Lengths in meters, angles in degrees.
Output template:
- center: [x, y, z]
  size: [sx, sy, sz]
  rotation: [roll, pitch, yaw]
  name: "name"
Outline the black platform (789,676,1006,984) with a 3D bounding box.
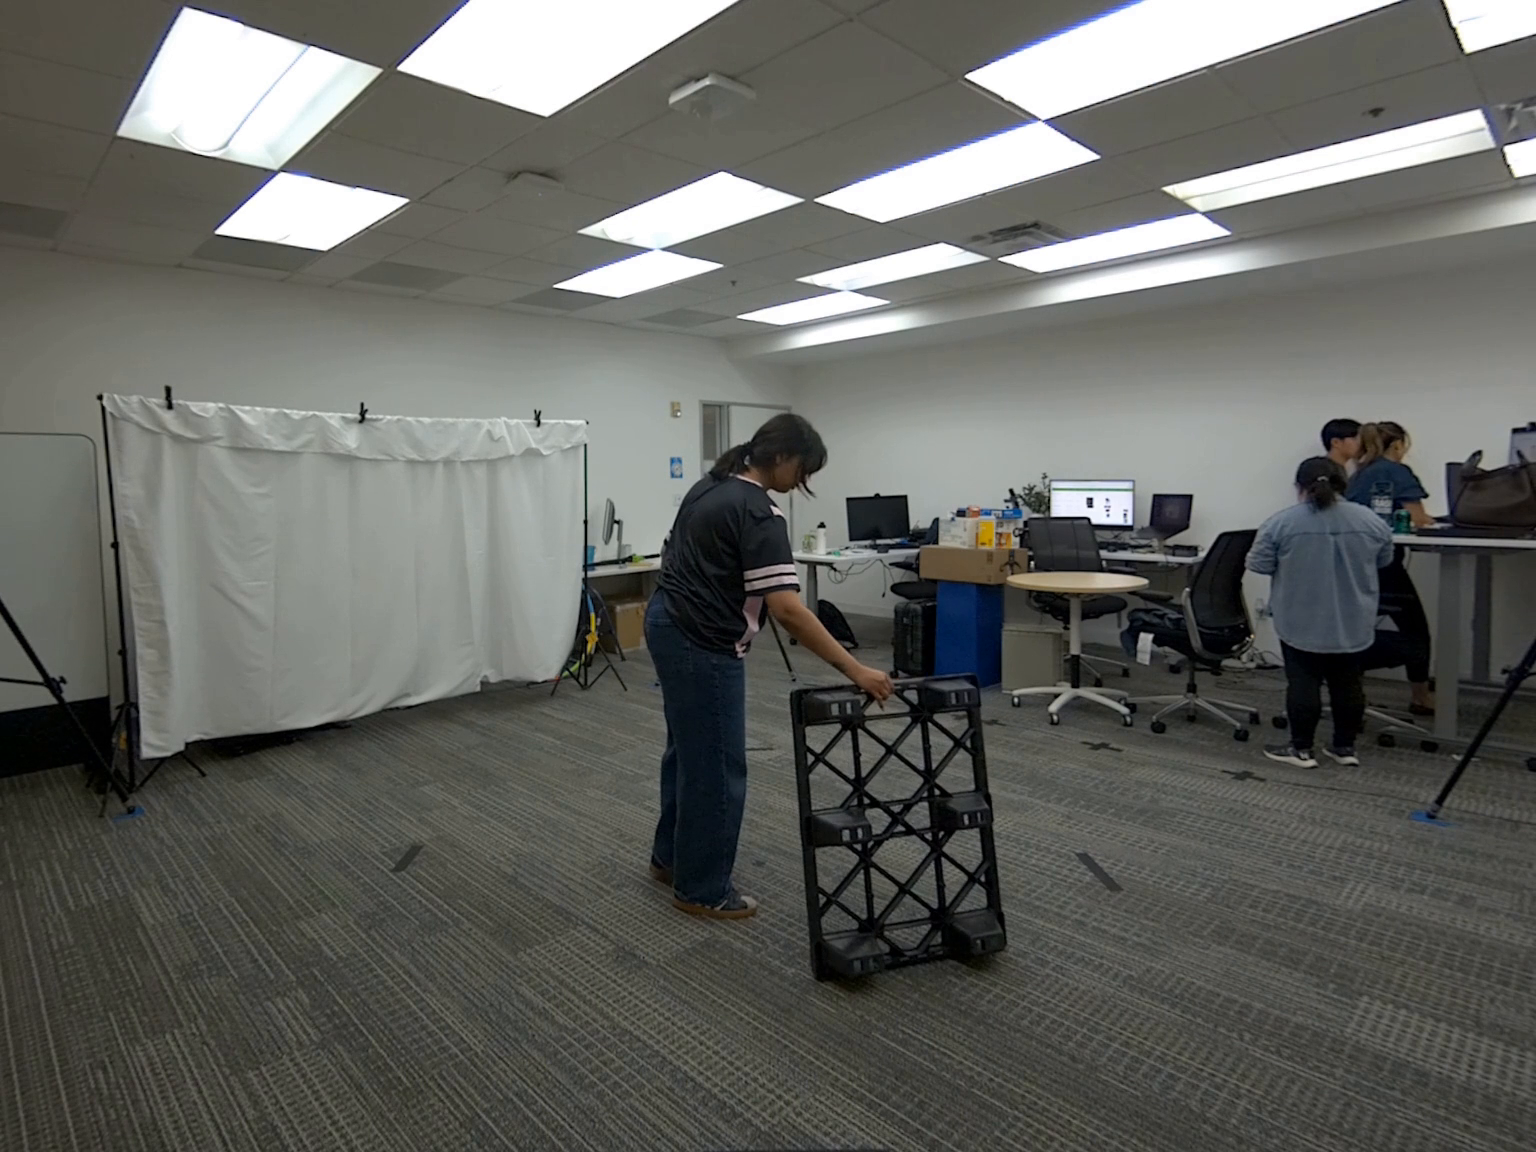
- center: [0.397, 0.709, 2.459]
  size: [0.597, 0.811, 0.144]
  rotation: [-3, -7, -14]
  name: "black platform"
